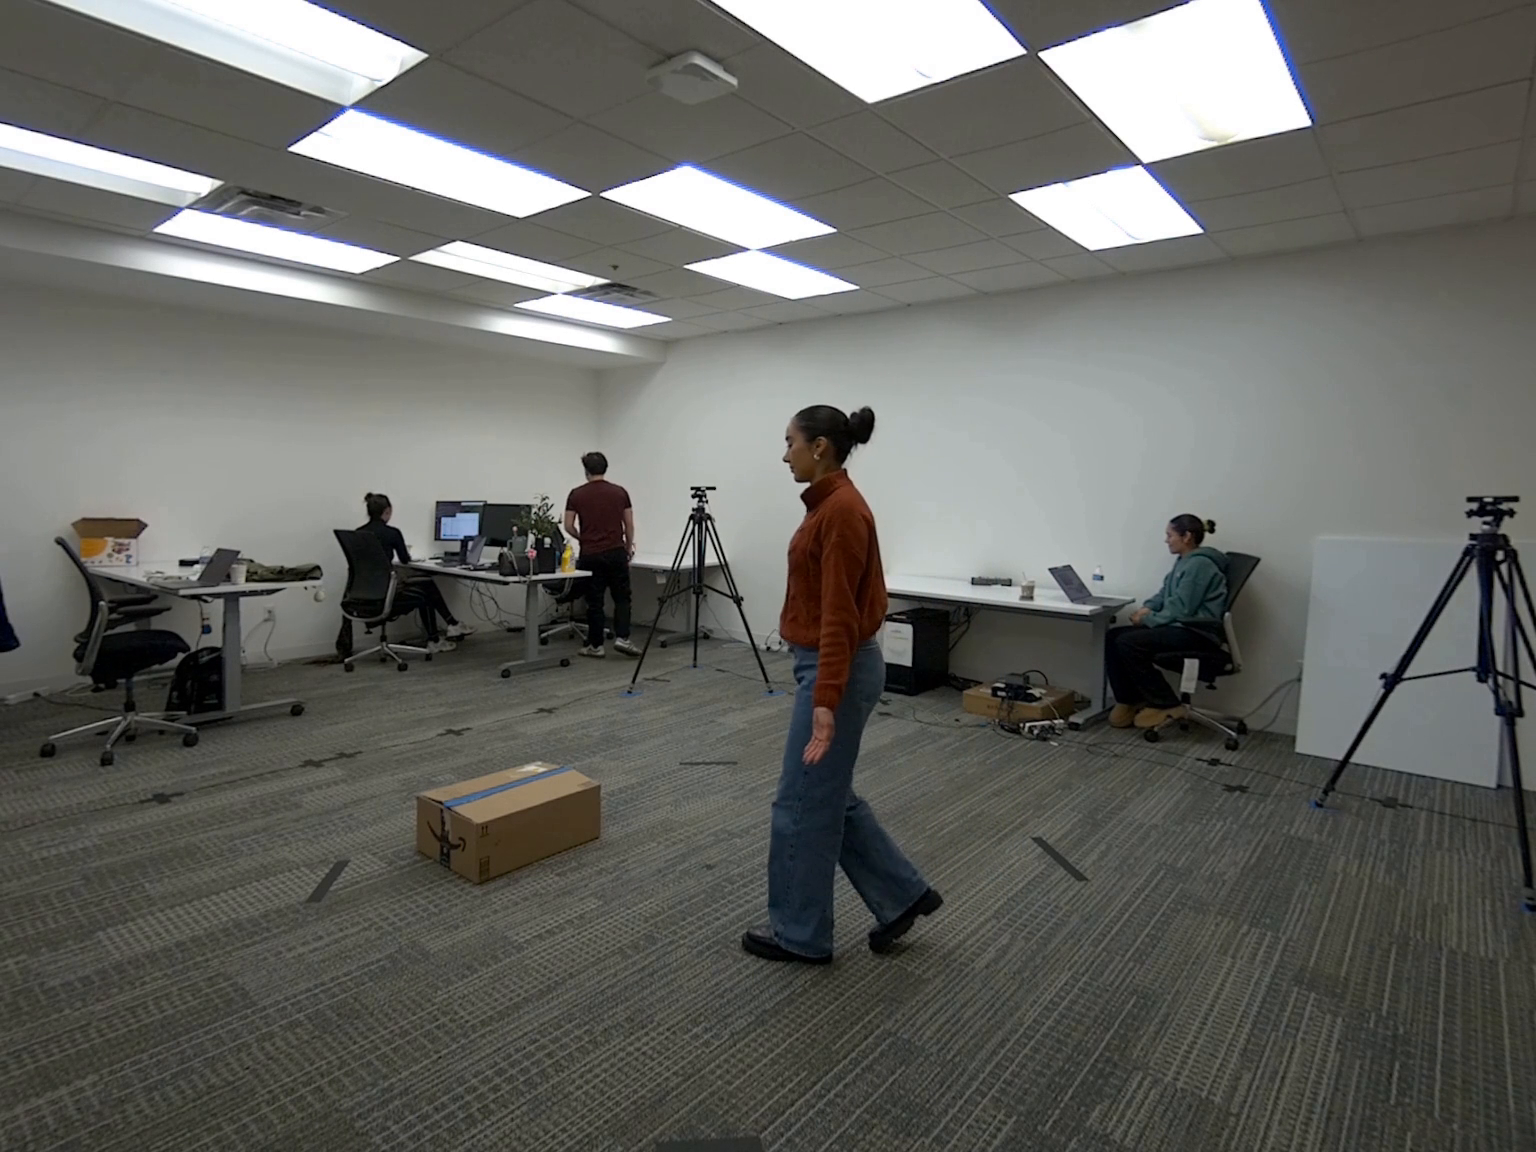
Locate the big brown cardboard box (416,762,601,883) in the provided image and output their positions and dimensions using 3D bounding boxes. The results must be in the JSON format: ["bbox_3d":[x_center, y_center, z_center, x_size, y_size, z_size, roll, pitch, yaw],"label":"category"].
[{"bbox_3d":[-1.003,0.924,3.287,0.432,0.232,0.572,5,8,39],"label":"big brown cardboard box"}]
